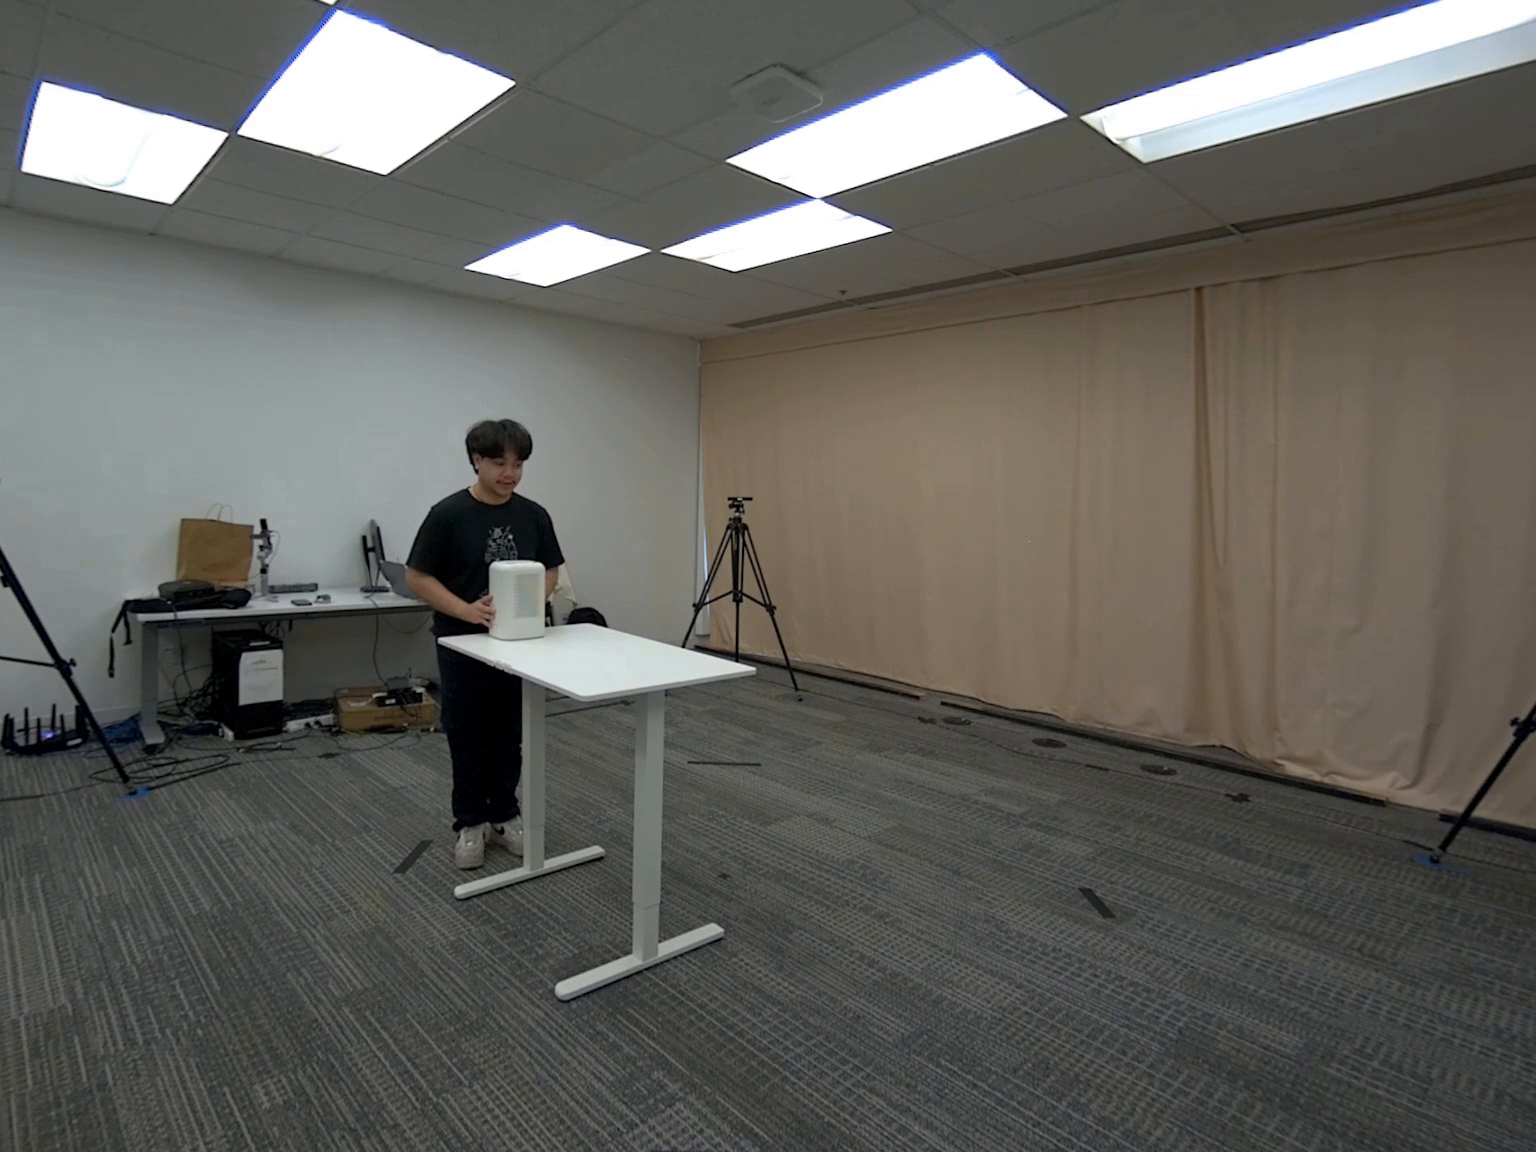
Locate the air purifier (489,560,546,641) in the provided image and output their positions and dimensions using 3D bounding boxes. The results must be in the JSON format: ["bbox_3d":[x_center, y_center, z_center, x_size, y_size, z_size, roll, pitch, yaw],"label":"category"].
[{"bbox_3d":[-0.899,0.083,2.975,0.168,0.264,0.175,-4,9,-43],"label":"air purifier"}]
